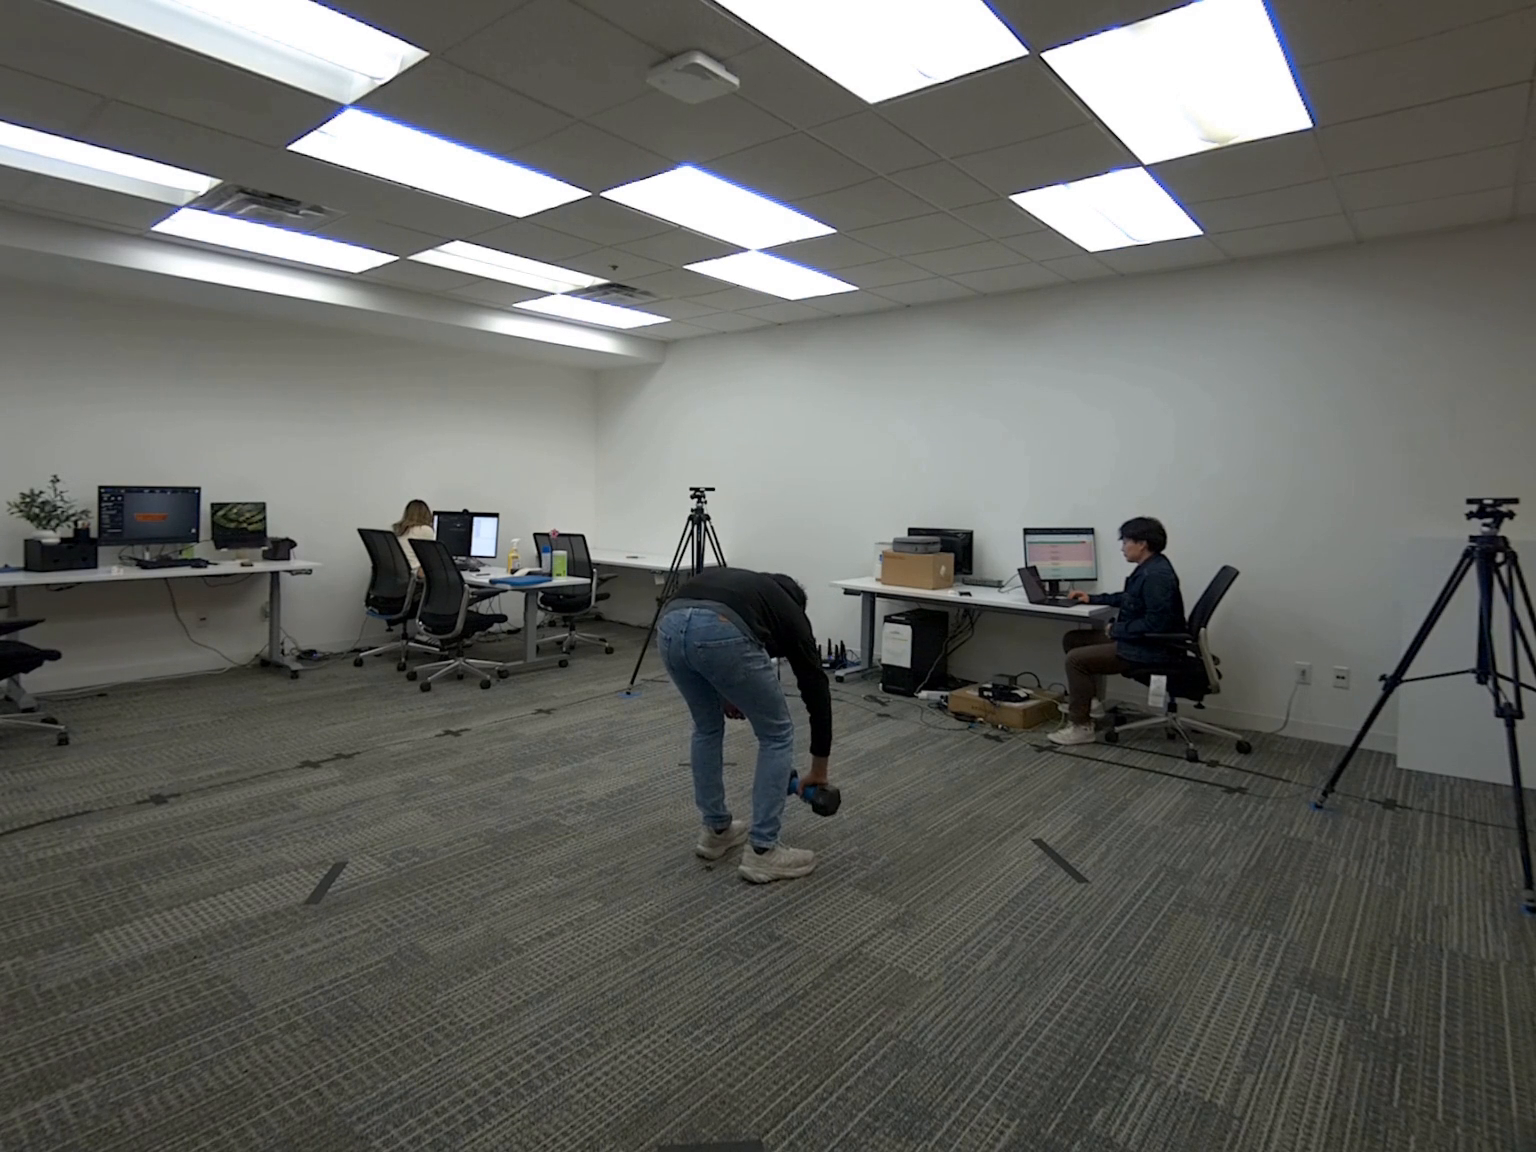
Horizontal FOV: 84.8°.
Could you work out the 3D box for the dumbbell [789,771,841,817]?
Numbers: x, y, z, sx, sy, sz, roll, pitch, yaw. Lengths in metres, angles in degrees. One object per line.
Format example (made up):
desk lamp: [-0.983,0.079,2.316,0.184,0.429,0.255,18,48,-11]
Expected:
dumbbell: [0.130,0.836,3.369,0.304,0.108,0.119,14,4,37]
